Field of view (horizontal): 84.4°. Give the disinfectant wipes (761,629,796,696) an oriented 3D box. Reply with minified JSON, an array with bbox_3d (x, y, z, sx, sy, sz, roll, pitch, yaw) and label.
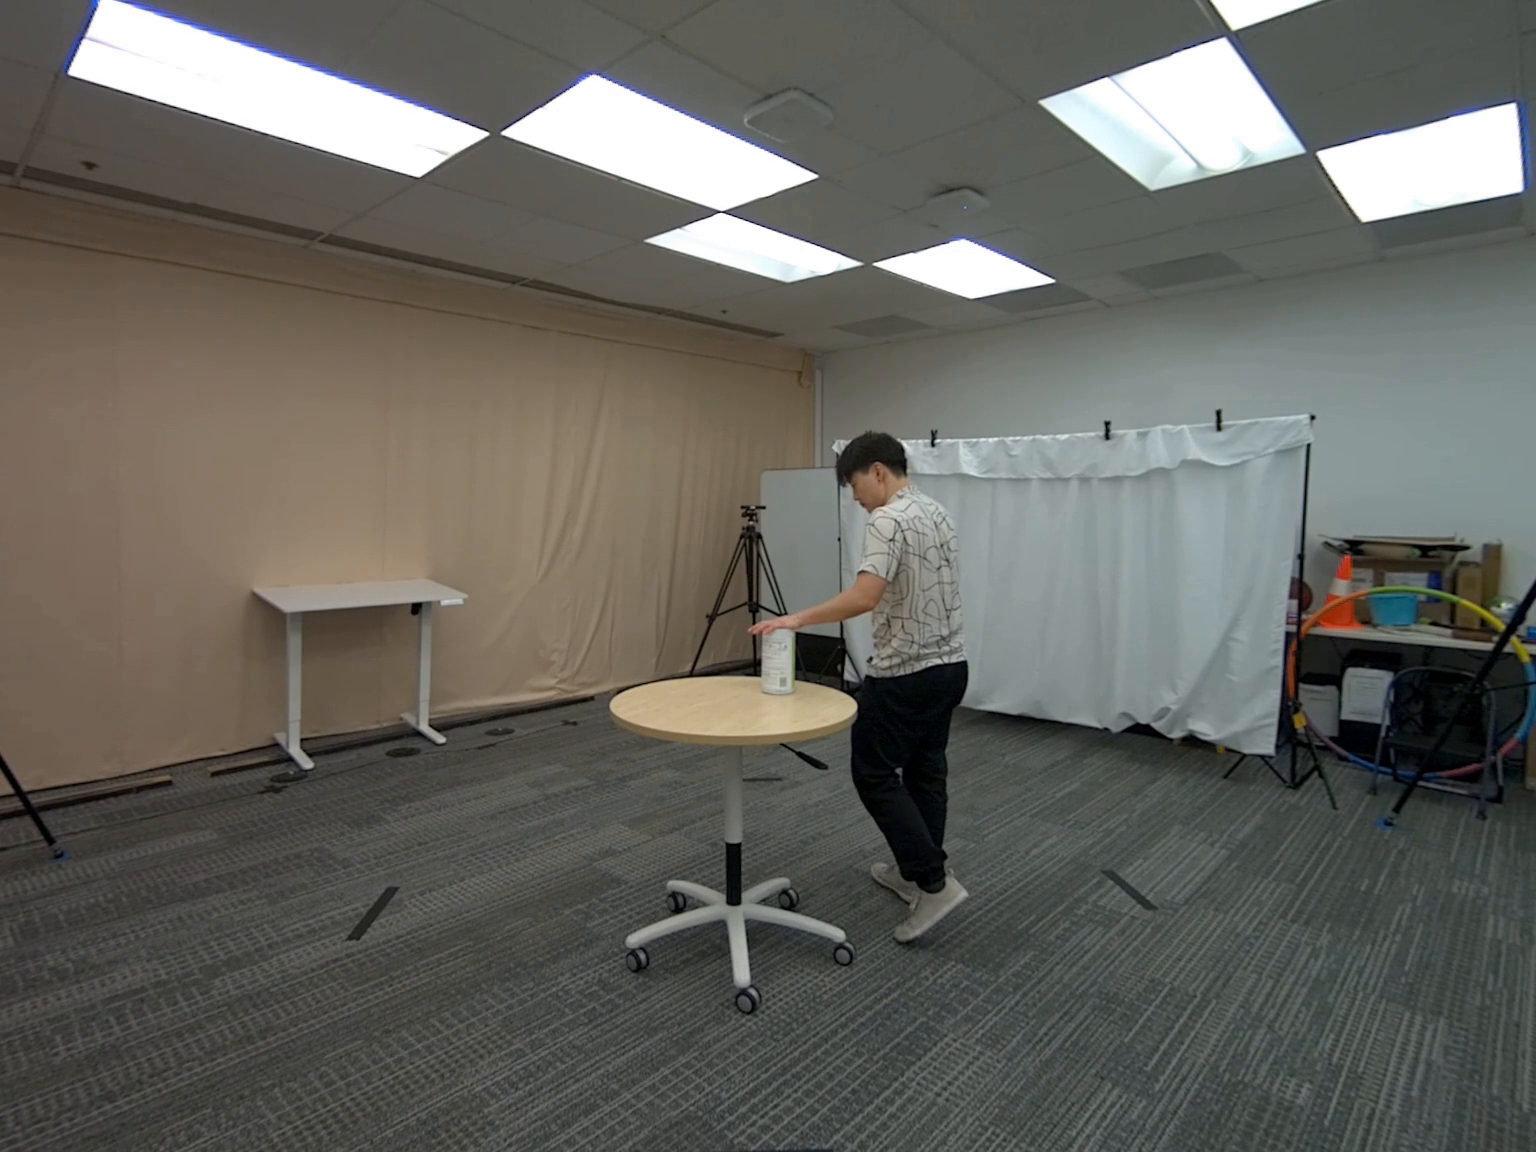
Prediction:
[{"bbox_3d":[0.038,0.279,2.764,0.117,0.217,0.118,3,1,-2],"label":"disinfectant wipes"}]
